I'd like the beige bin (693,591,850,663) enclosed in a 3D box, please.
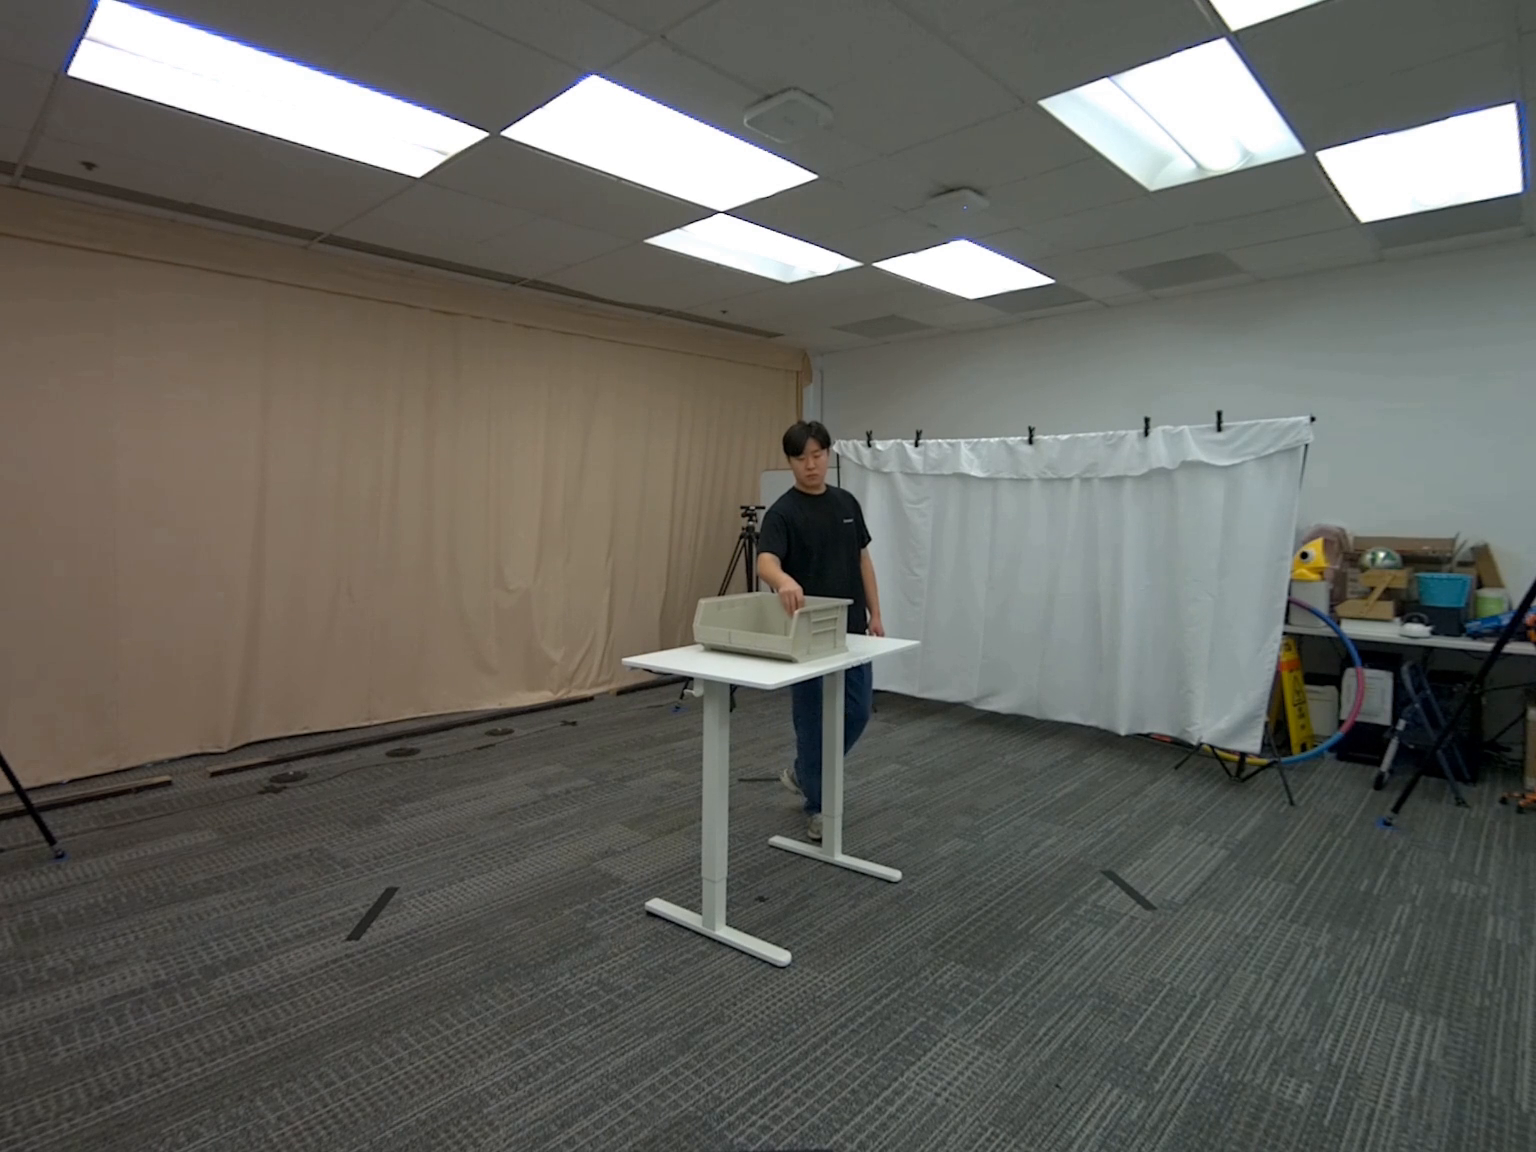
[{"bbox_3d":[0.020,0.176,2.942,0.436,0.189,0.366,3,4,38],"label":"beige bin"}]
